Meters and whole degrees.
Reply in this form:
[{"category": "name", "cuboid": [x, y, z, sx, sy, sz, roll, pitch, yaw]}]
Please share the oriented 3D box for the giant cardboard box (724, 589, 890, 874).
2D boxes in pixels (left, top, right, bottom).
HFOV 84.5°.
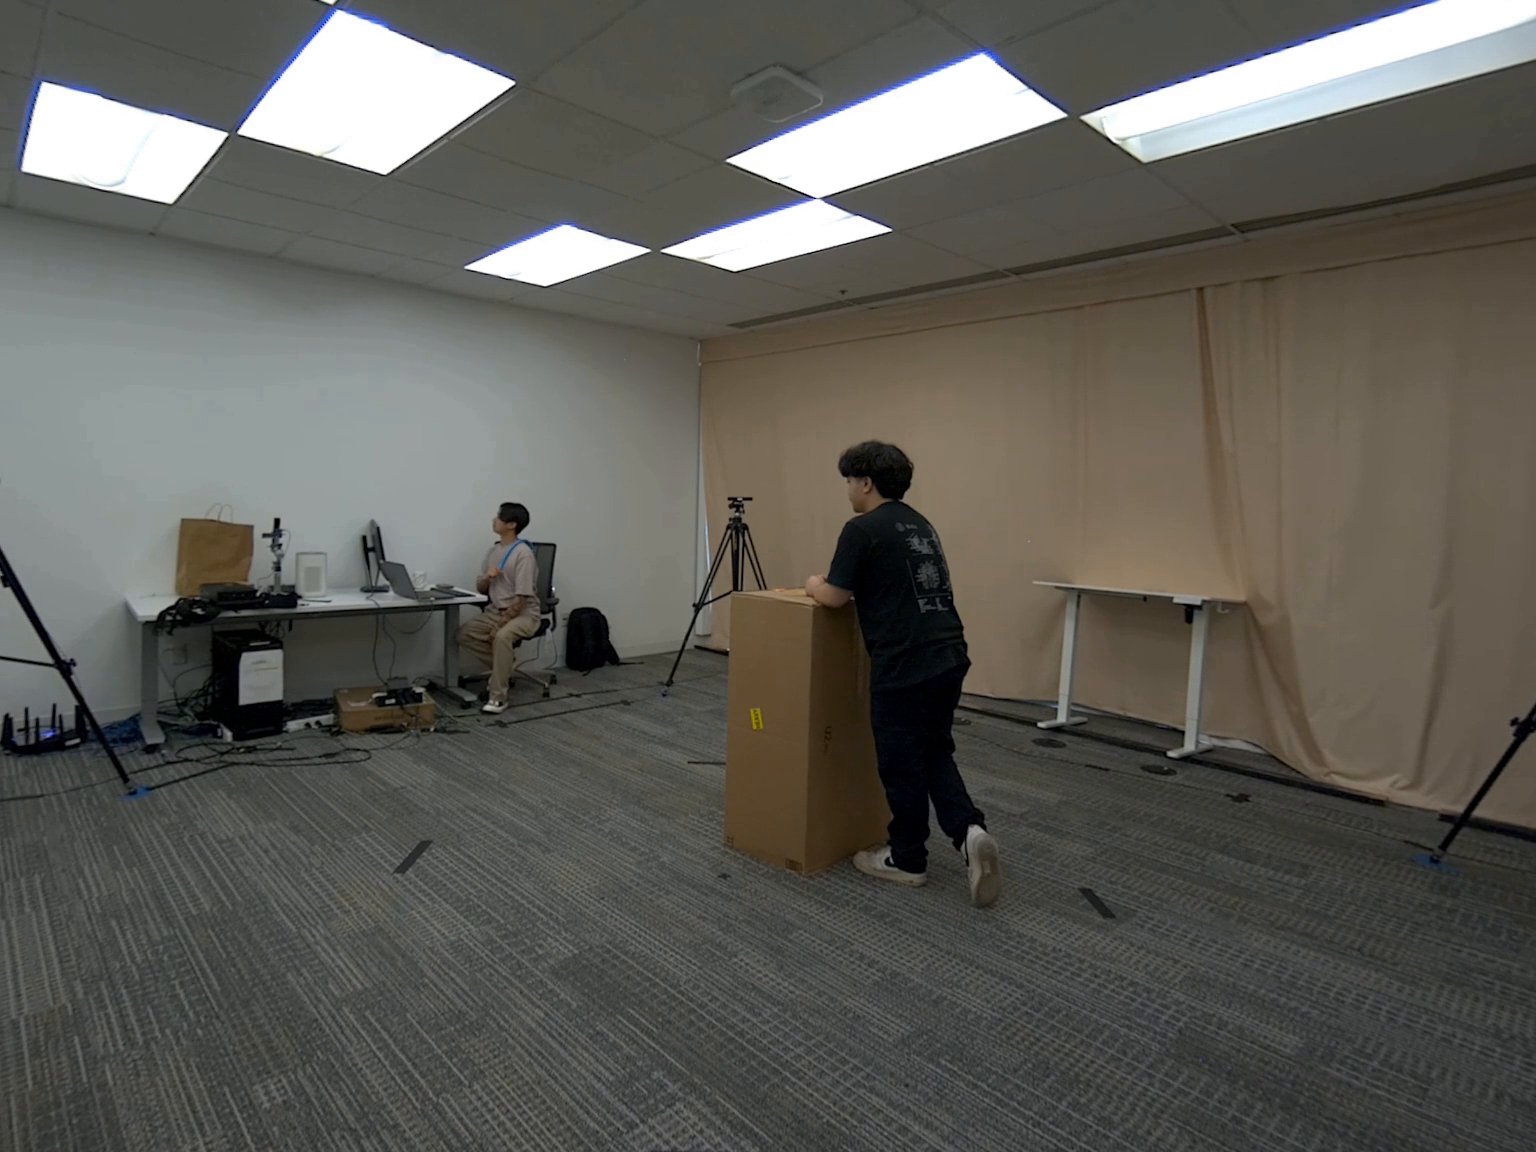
[{"category": "giant cardboard box", "cuboid": [0.171, 0.577, 3.439, 0.458, 1.025, 0.570, 4, 3, 44]}]
